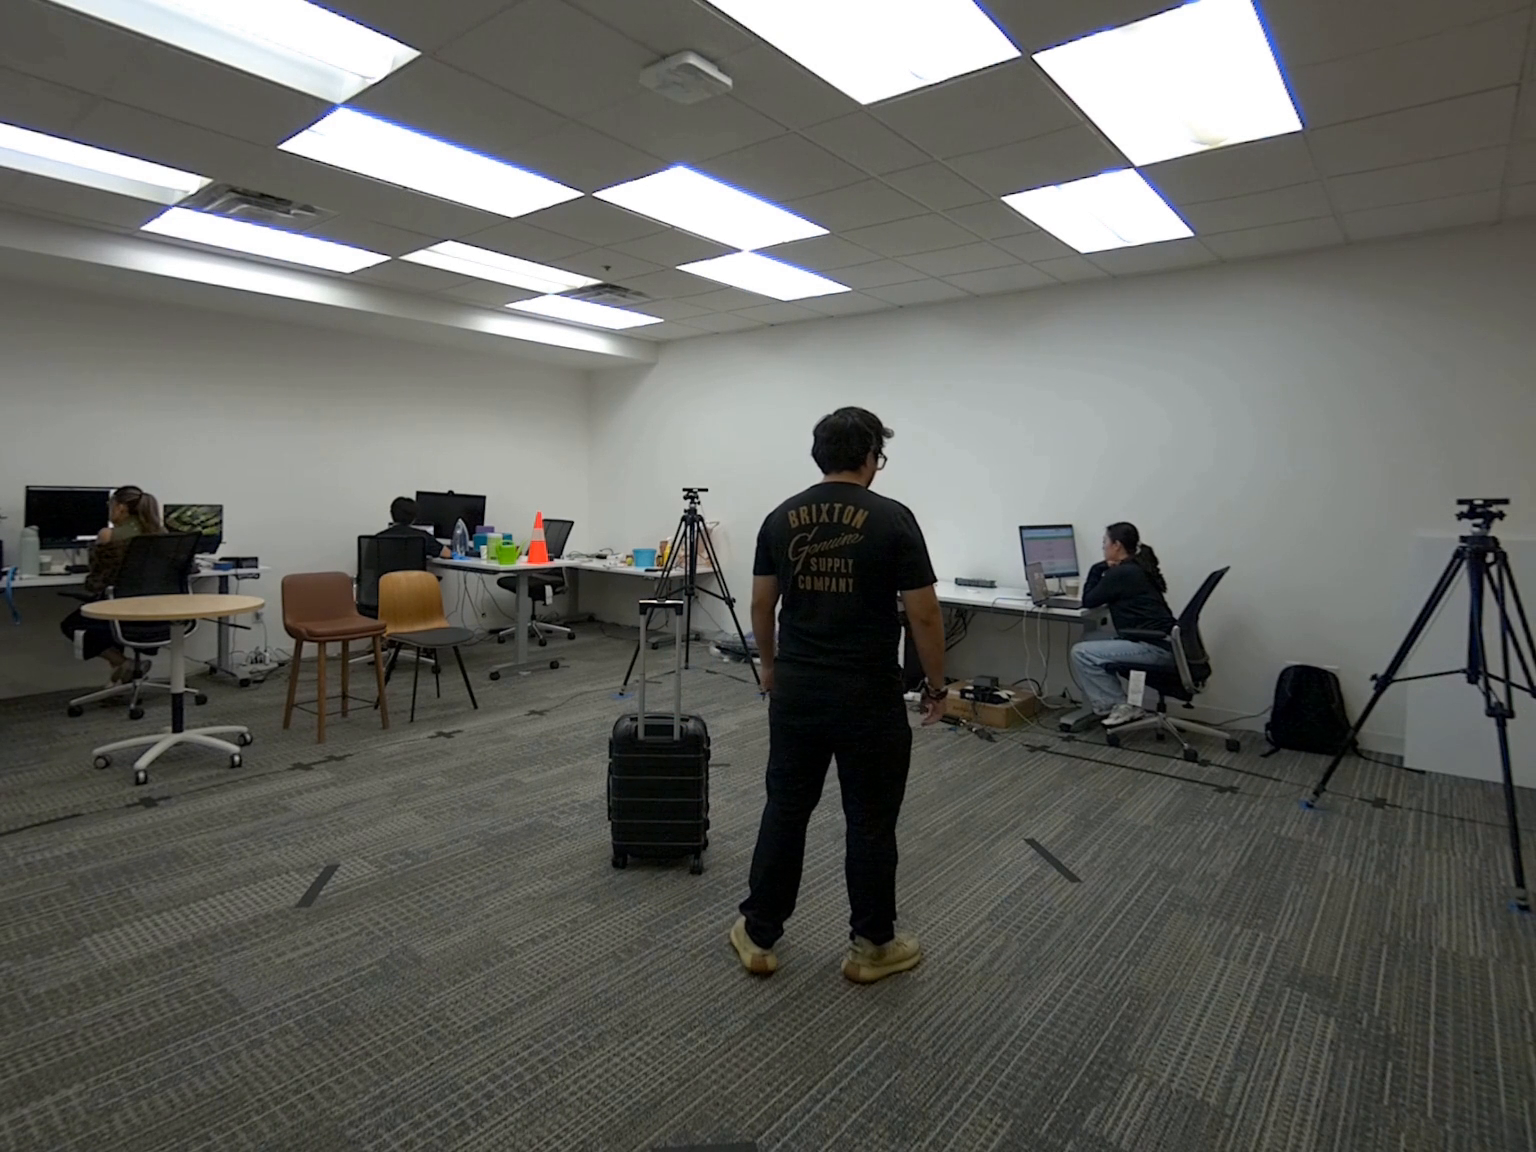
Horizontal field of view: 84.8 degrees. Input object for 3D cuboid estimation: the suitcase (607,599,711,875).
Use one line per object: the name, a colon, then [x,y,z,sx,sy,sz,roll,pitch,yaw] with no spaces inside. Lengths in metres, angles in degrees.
suitcase: [-0.416,0.582,3.182,0.383,0.978,0.258,0,1,-2]
